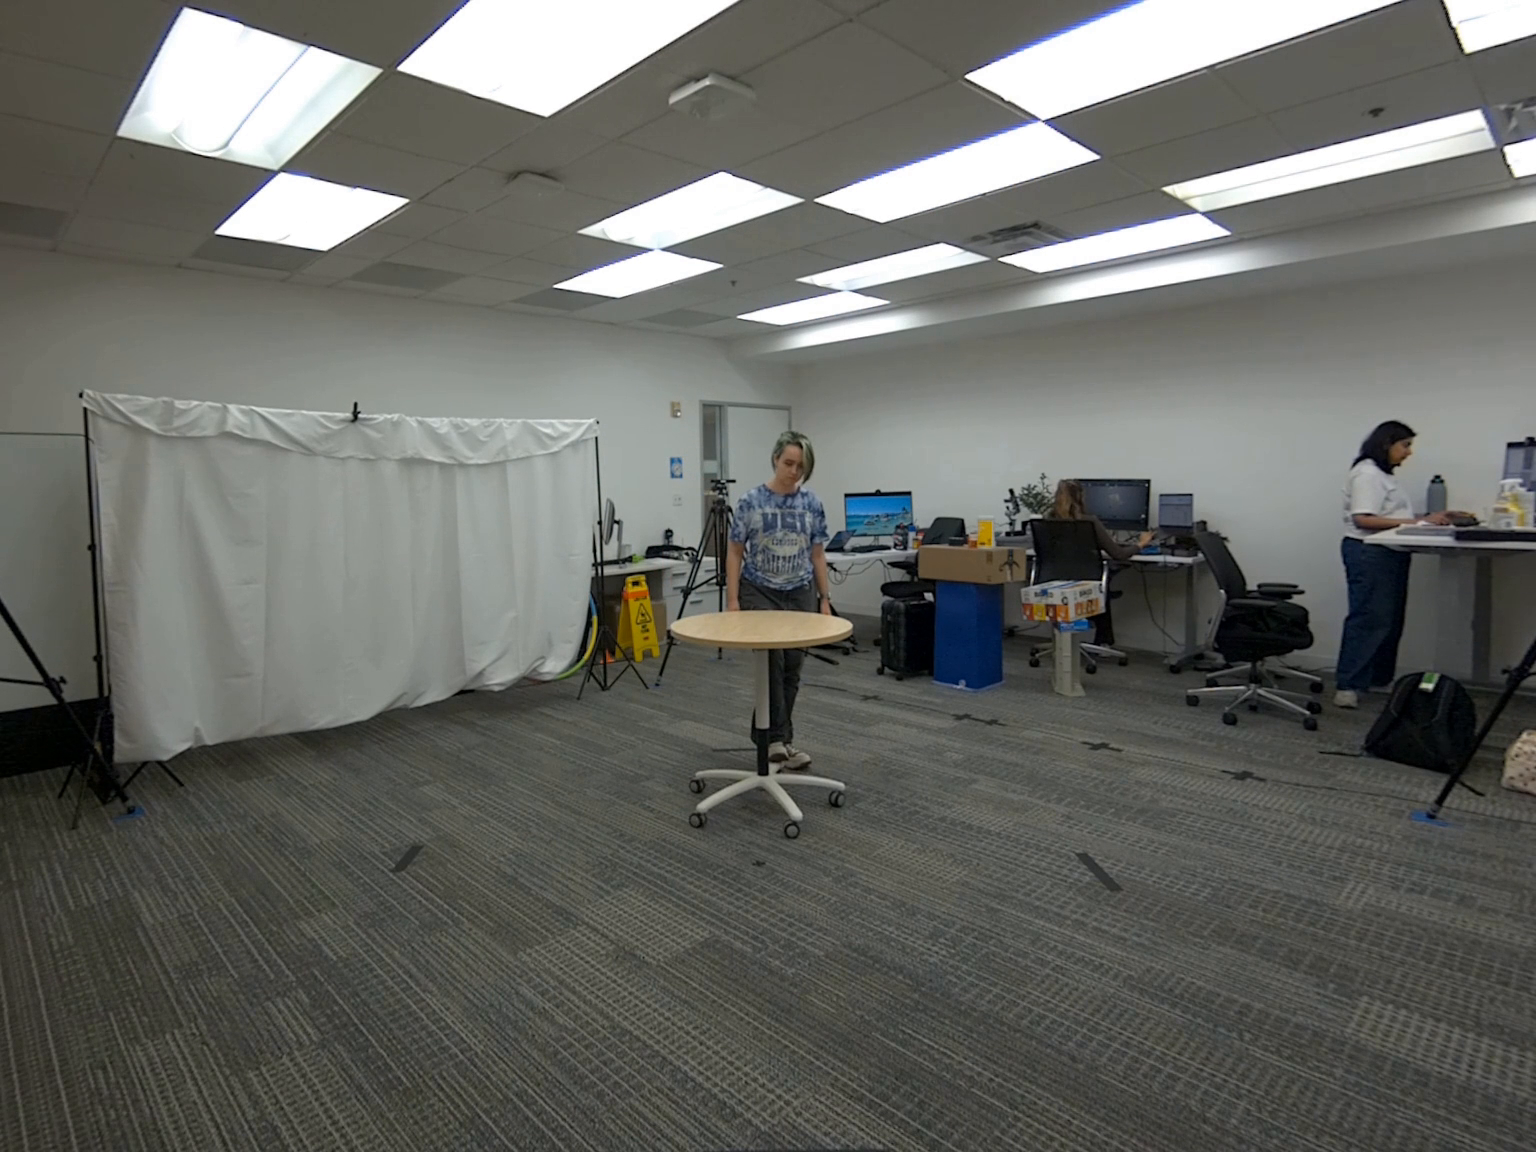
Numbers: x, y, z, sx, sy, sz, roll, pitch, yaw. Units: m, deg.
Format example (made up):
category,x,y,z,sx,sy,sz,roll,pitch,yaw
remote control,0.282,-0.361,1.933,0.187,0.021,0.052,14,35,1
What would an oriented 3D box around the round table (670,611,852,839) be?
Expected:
category,x,y,z,sx,sy,sz,roll,pitch,yaw
round table,-0.030,0.604,3.615,0.763,0.791,0.767,-1,4,-2
